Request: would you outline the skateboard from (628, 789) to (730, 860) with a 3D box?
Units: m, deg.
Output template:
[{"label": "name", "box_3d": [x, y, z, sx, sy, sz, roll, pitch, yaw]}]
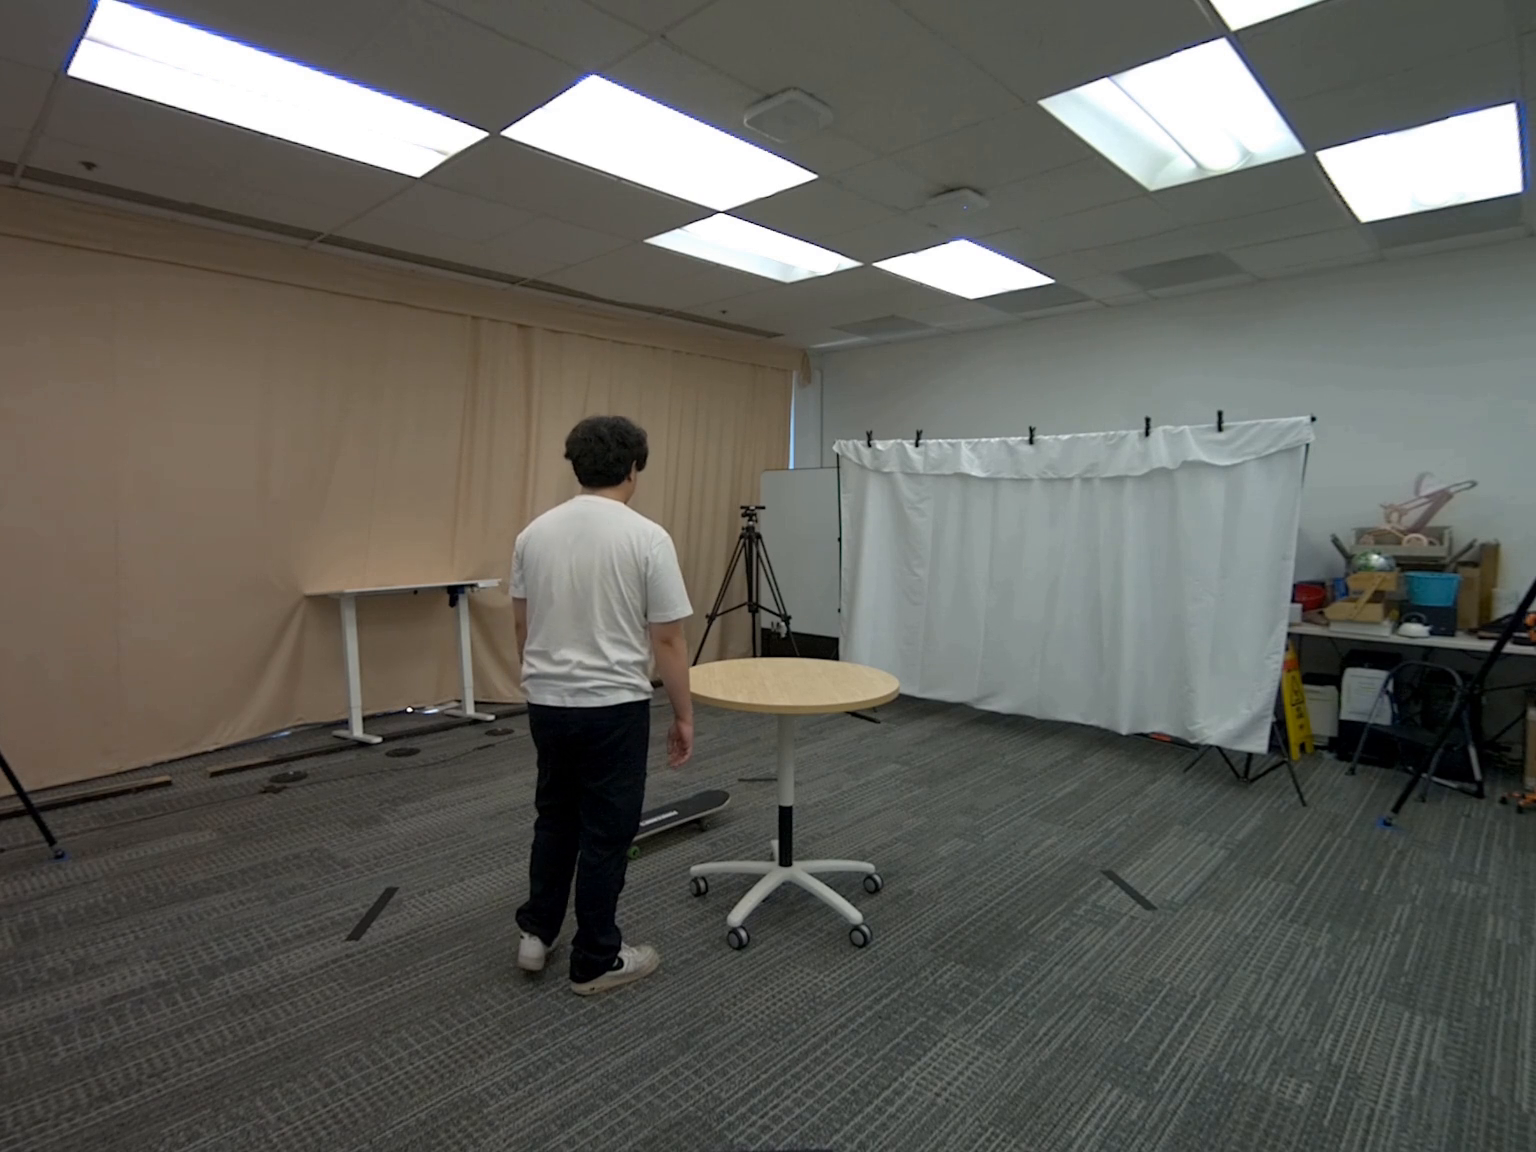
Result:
[{"label": "skateboard", "box_3d": [-0.474, 1.052, 3.529, 0.200, 0.110, 0.761, 3, 6, 44]}]
